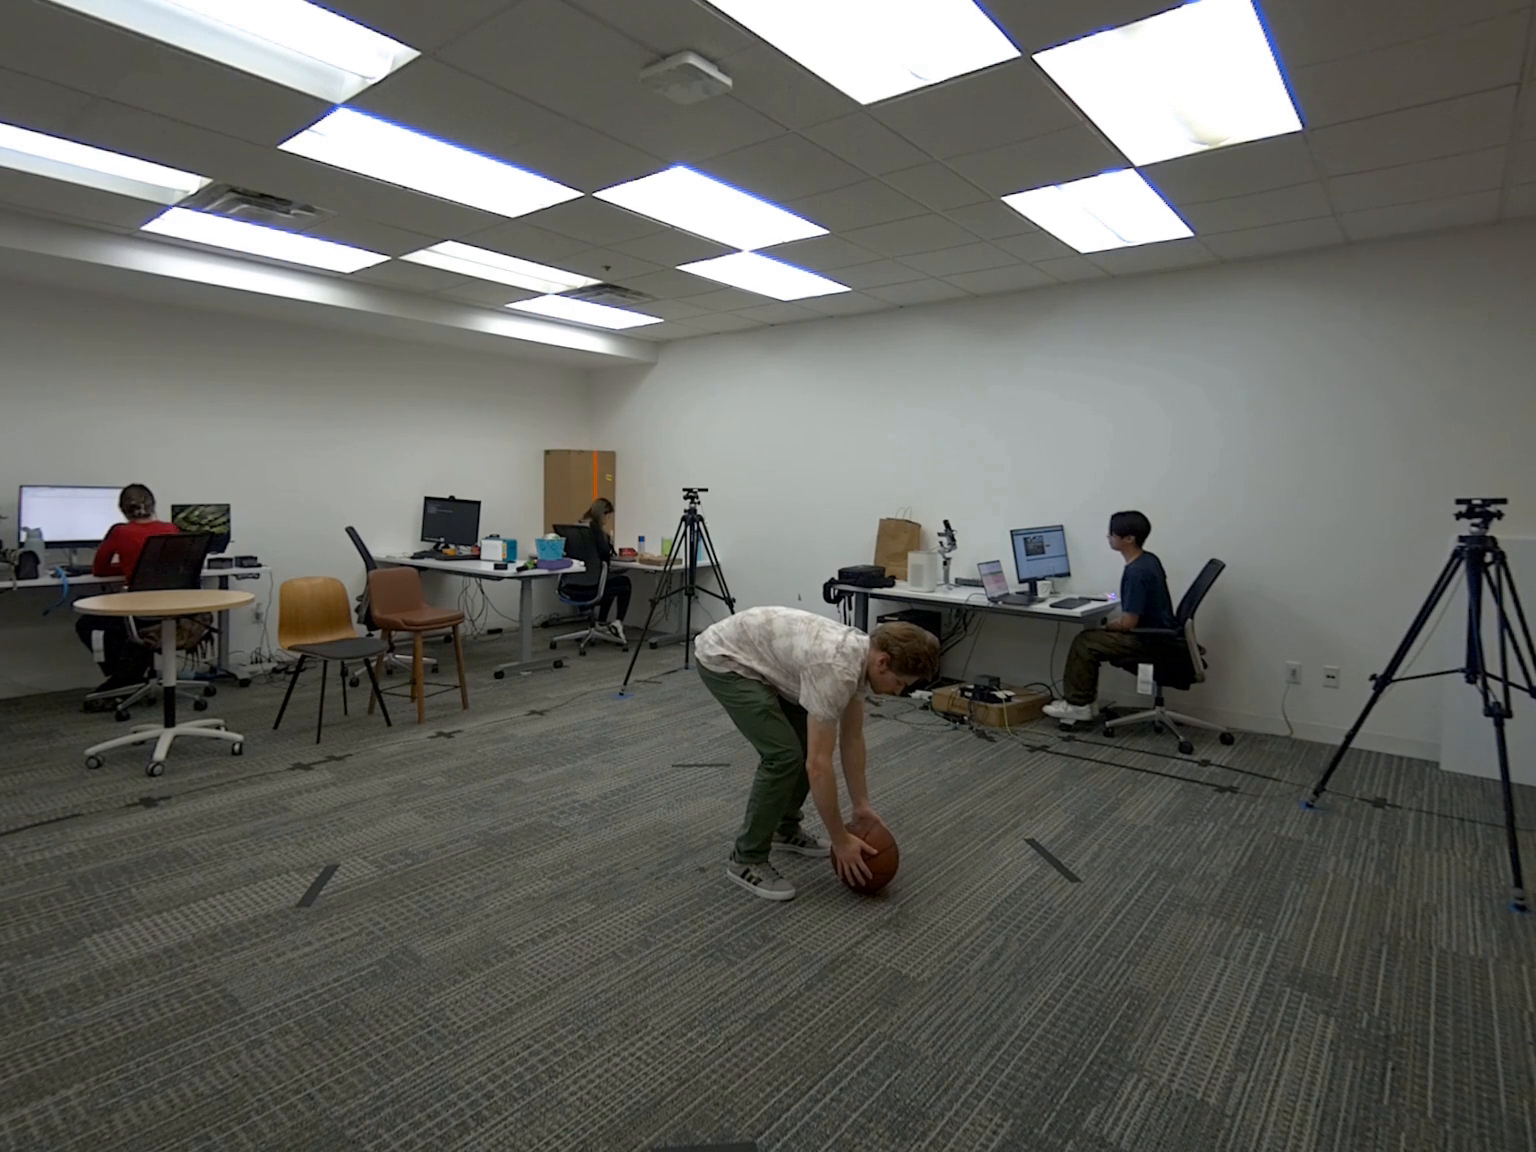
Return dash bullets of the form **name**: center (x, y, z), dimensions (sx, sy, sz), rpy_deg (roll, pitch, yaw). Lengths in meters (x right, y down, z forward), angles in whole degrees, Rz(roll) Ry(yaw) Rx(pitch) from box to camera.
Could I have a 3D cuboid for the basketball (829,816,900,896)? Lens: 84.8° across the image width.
- **basketball**: center (0.333, 0.982, 2.976), dimensions (0.236, 0.235, 0.237), rpy_deg (1, 4, -2)
